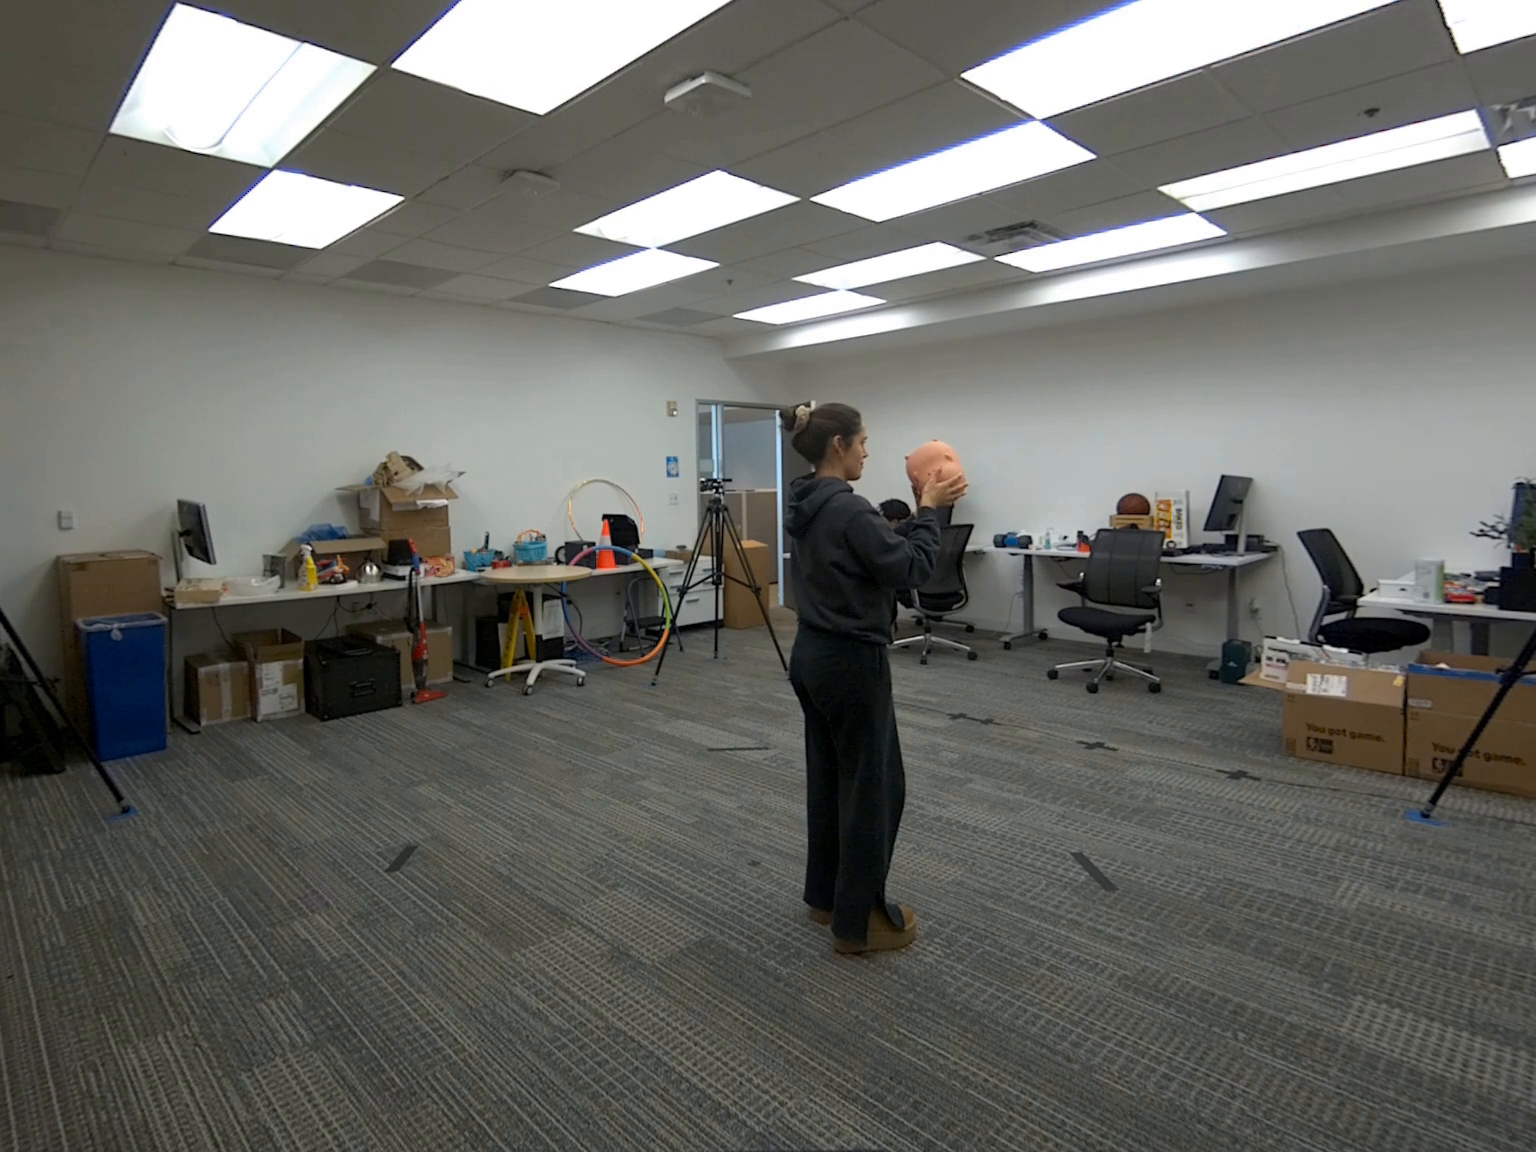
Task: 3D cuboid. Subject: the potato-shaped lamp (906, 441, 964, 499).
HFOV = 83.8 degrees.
[{"bbox_3d":[0.530,-0.314,2.665,0.165,0.165,0.204,-24,36,10],"label":"potato-shaped lamp"}]
